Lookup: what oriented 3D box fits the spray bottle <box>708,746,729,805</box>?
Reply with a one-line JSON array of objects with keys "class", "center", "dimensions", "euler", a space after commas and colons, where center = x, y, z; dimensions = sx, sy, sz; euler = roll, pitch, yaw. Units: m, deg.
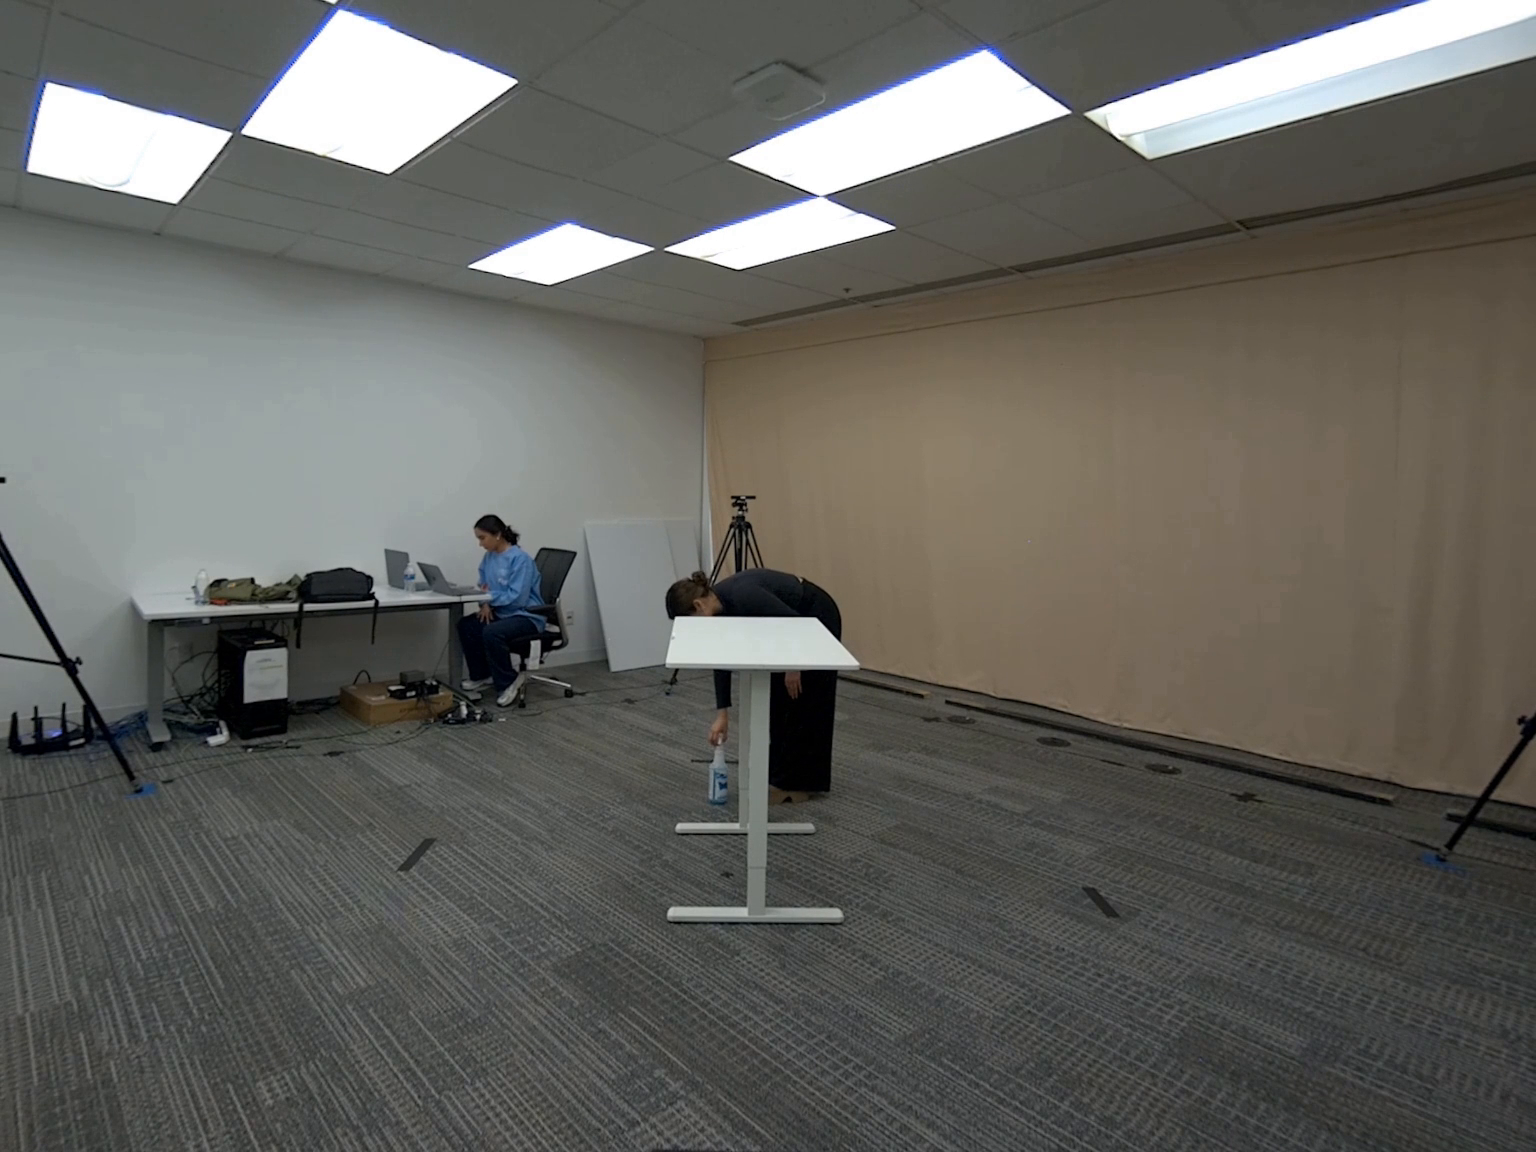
[{"class": "spray bottle", "center": [-0.235, 0.881, 3.868], "dimensions": [0.088, 0.298, 0.088], "euler": [2, -2, 23]}]
